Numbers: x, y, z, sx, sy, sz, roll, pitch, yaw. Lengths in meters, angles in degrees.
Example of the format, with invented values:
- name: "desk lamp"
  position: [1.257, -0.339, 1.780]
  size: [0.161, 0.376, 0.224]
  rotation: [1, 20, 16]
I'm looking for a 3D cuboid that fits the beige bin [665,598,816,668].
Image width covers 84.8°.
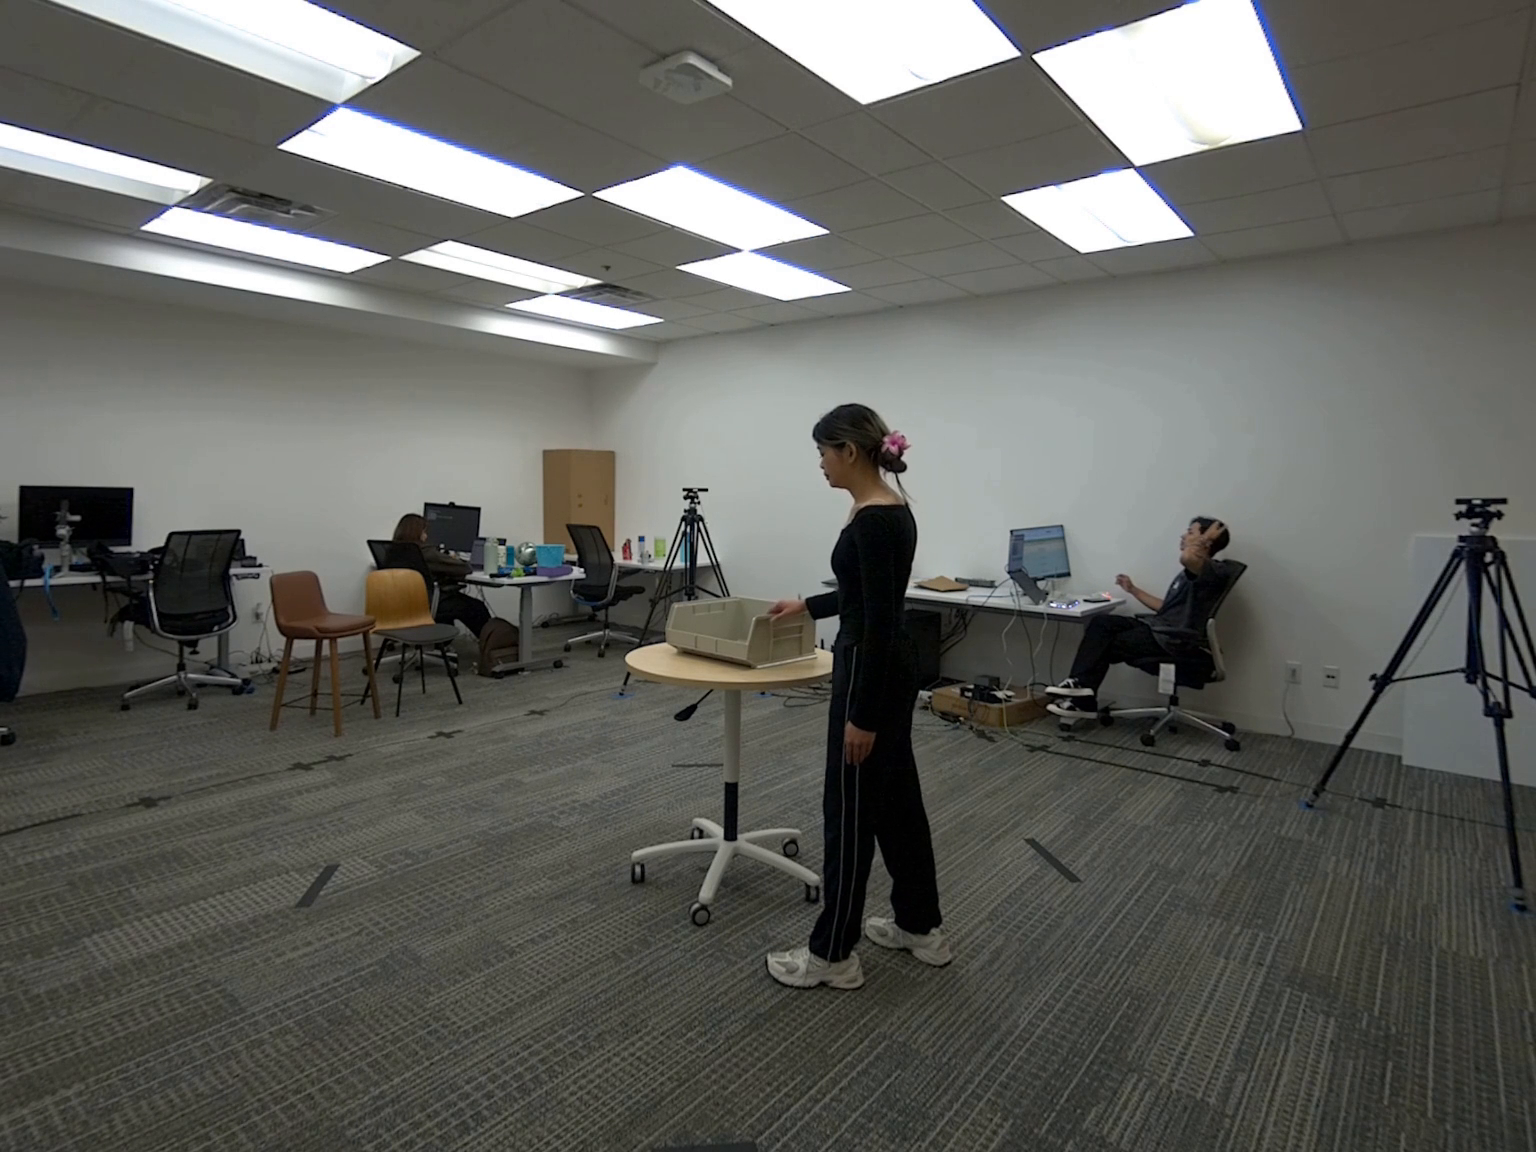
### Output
- name: "beige bin"
  position: [-0.097, 0.194, 3.052]
  size: [0.436, 0.188, 0.366]
  rotation: [4, 5, 44]
